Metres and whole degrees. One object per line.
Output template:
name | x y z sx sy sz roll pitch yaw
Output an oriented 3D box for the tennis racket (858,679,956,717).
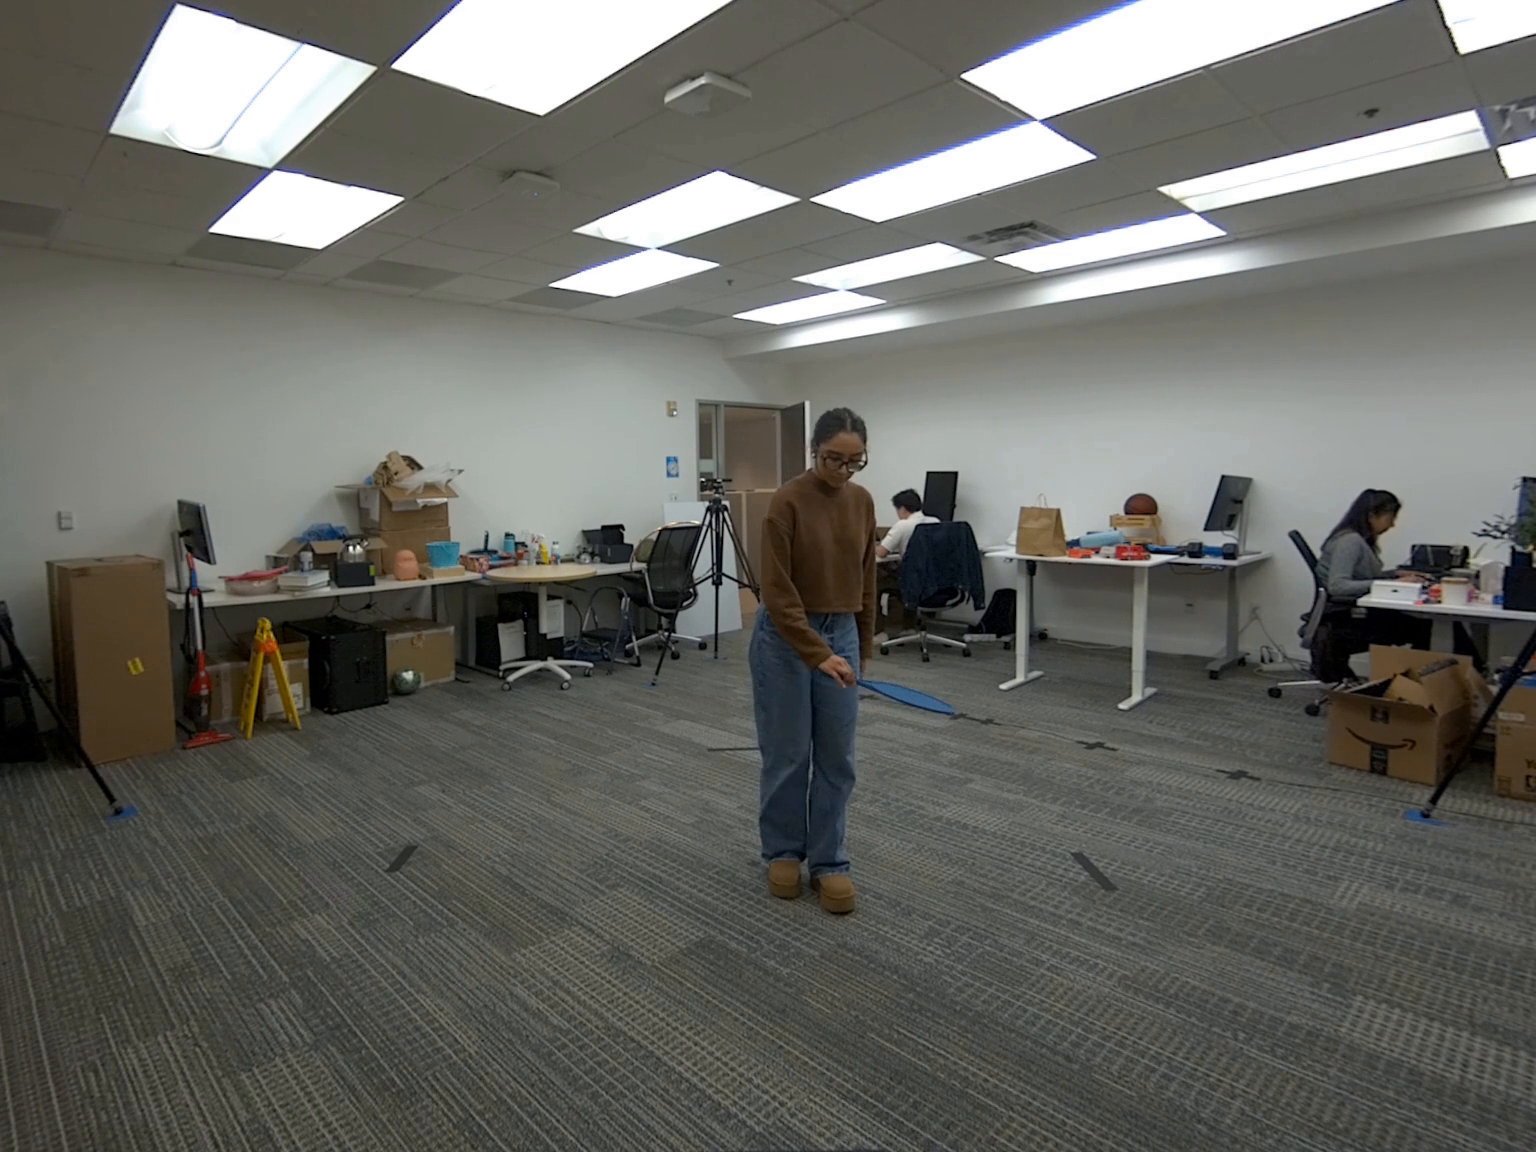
tennis racket | 0.363 0.358 2.642 0.433 0.031 0.214 15 5 -1
